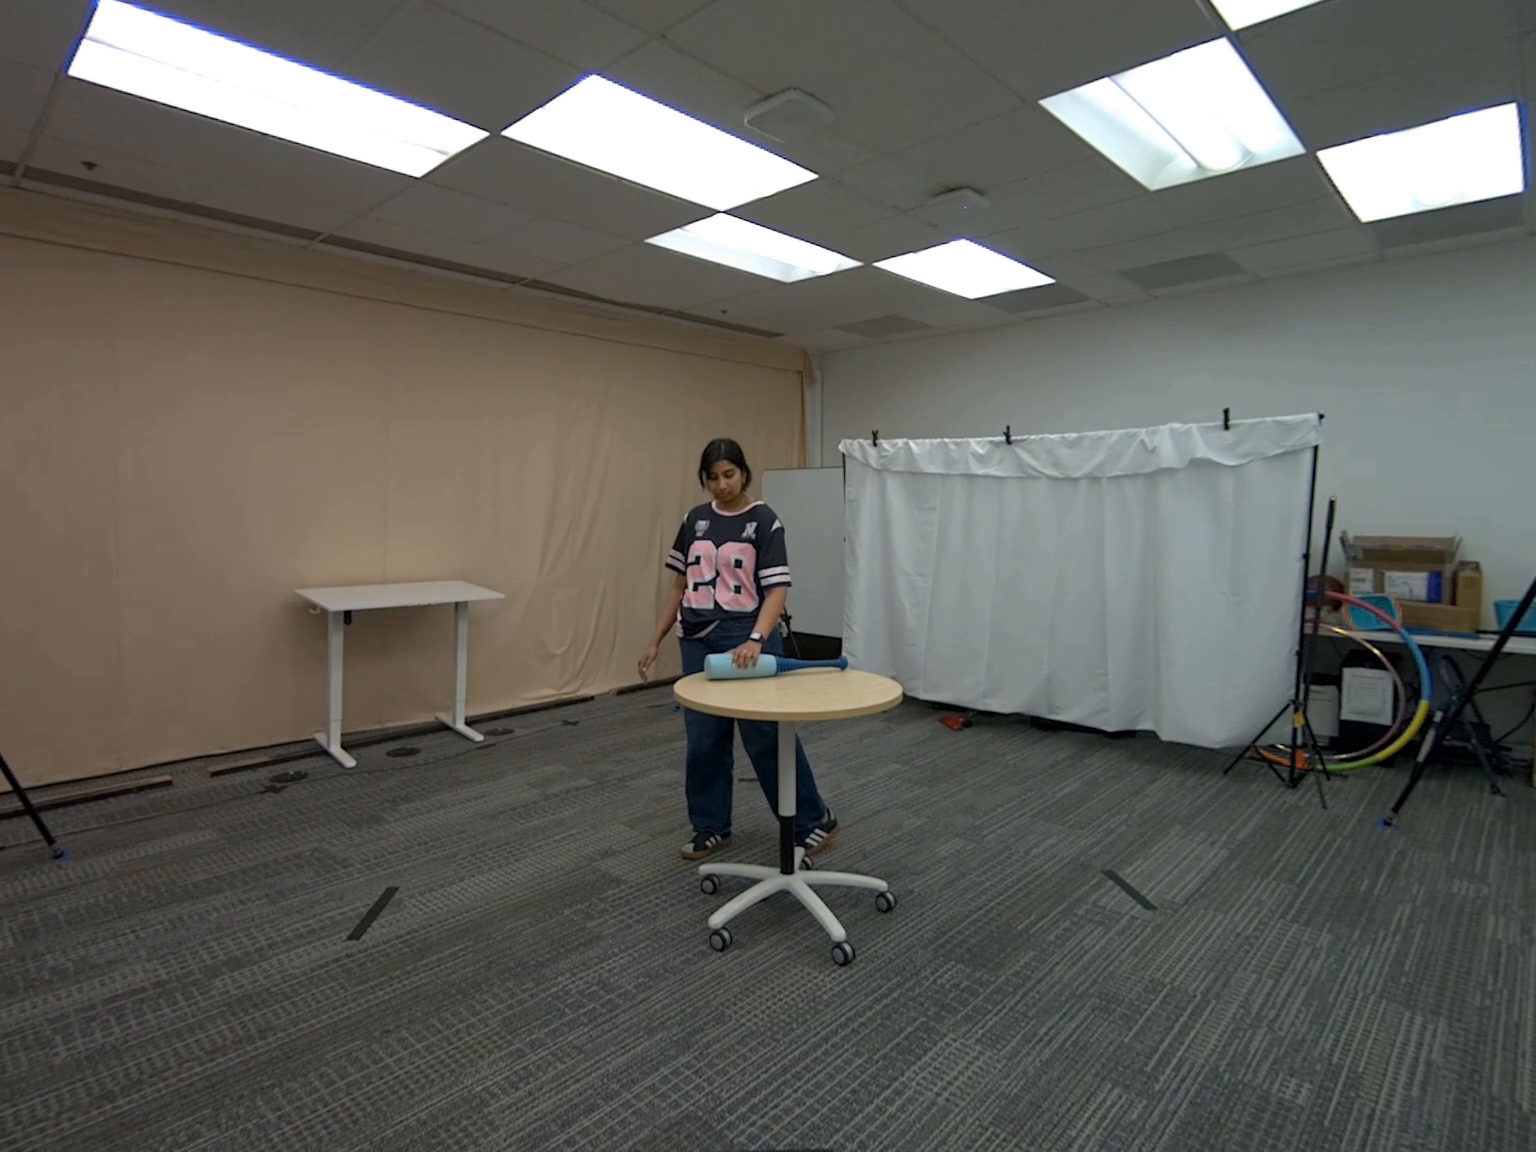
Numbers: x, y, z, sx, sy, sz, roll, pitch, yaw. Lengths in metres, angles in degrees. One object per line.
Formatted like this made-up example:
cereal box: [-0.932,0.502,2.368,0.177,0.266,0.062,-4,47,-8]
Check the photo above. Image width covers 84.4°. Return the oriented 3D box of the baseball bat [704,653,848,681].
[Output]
baseball bat: [0.043,0.320,3.028,0.533,0.089,0.091,1,3,-17]
